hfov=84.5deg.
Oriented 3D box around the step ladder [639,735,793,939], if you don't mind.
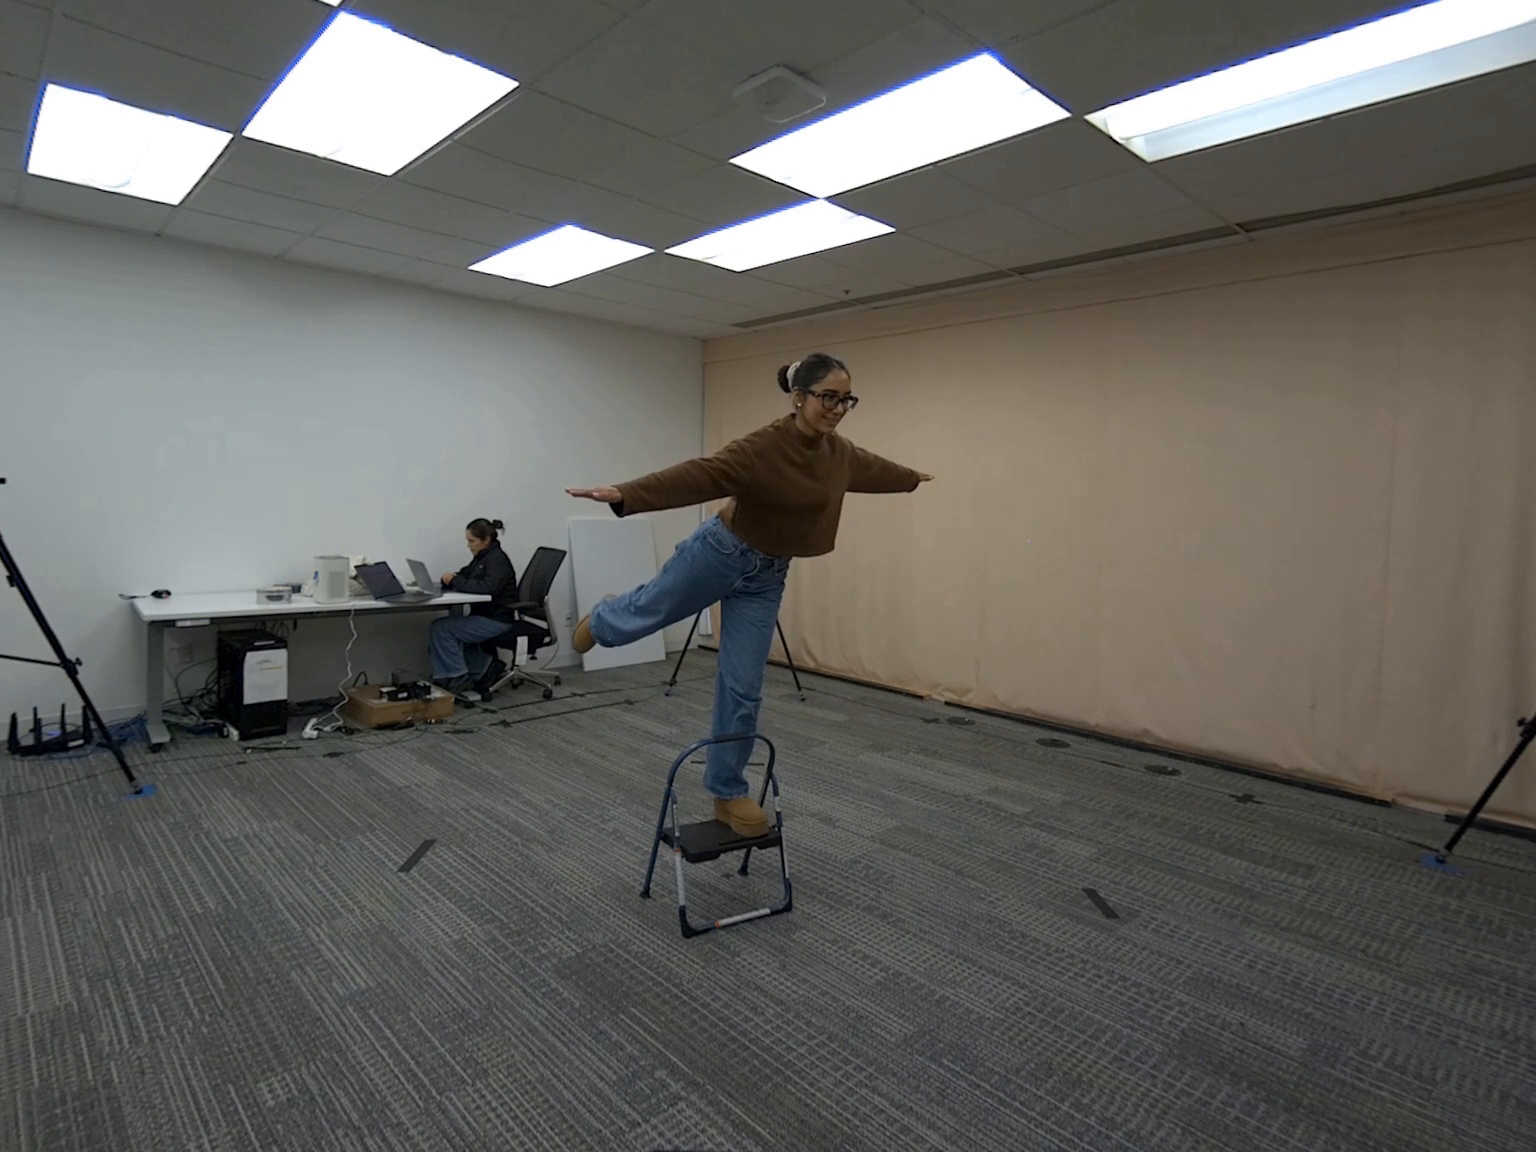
[{"bbox_3d":[-0.176,0.826,2.878,0.421,0.604,0.357,-1,4,-32],"label":"step ladder"}]
